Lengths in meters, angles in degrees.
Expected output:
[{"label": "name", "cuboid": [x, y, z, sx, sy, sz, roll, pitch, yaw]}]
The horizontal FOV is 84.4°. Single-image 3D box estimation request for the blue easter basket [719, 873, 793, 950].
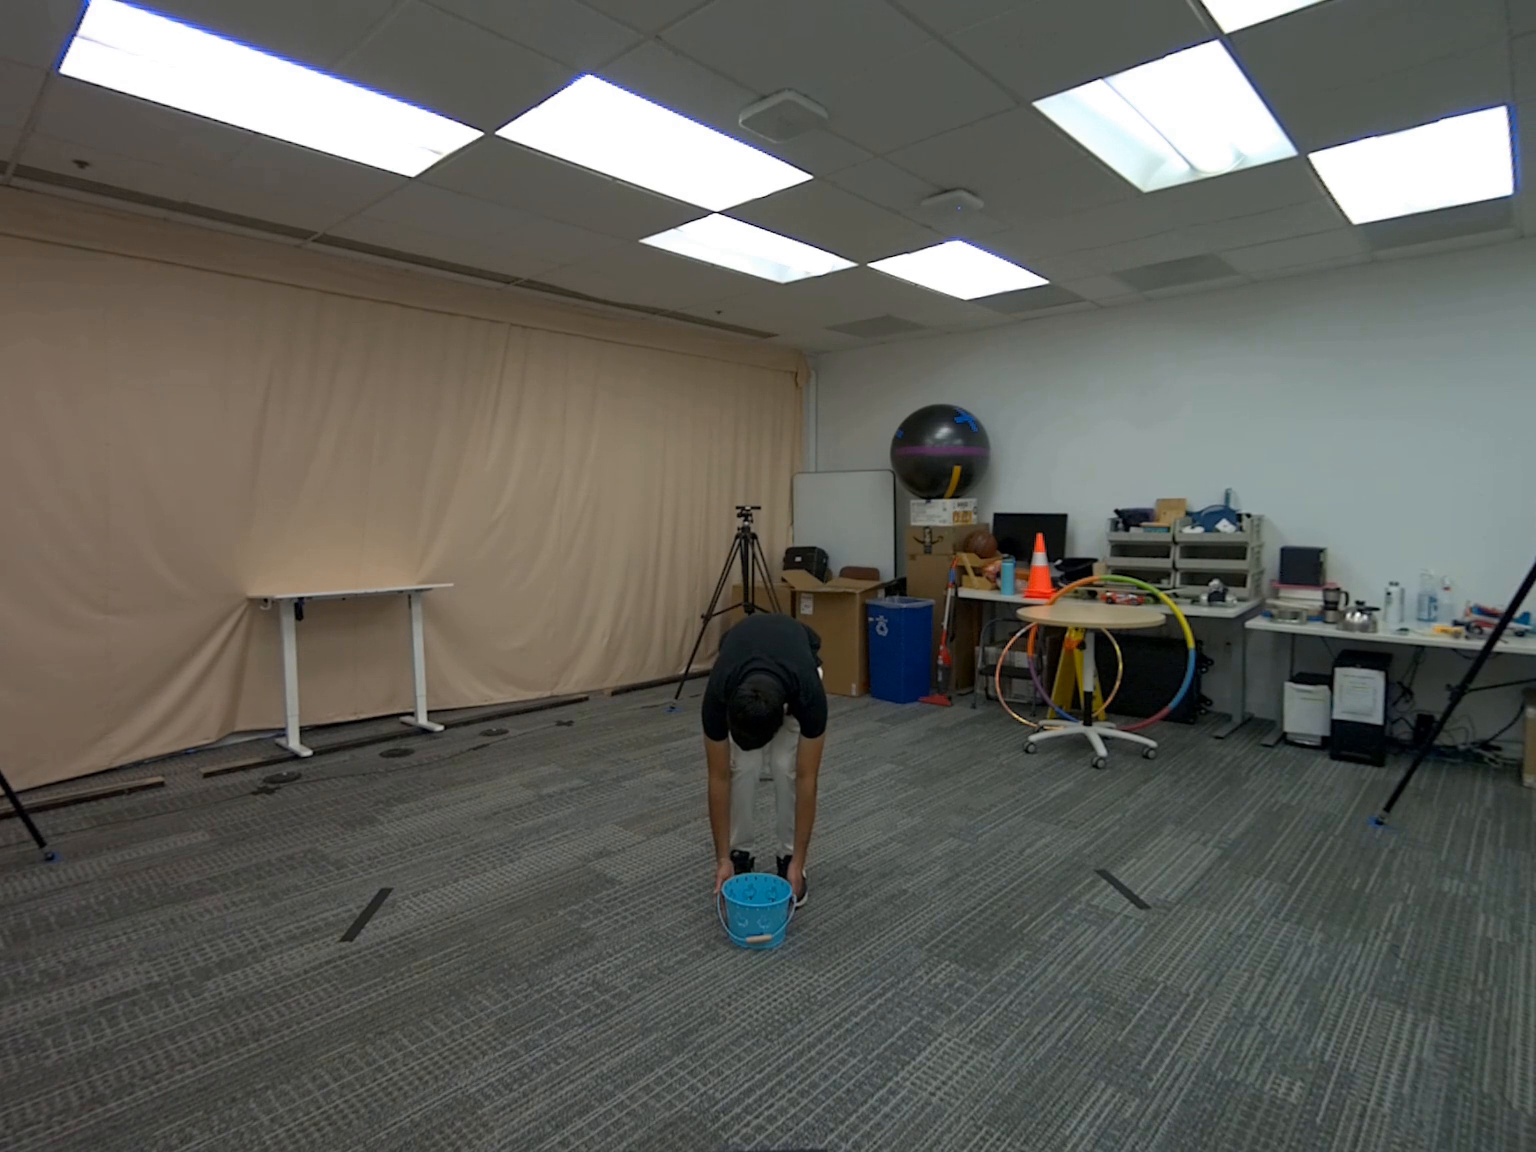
[{"label": "blue easter basket", "cuboid": [-0.037, 1.084, 2.729, 0.243, 0.155, 0.244, -1, 4, -2]}]
